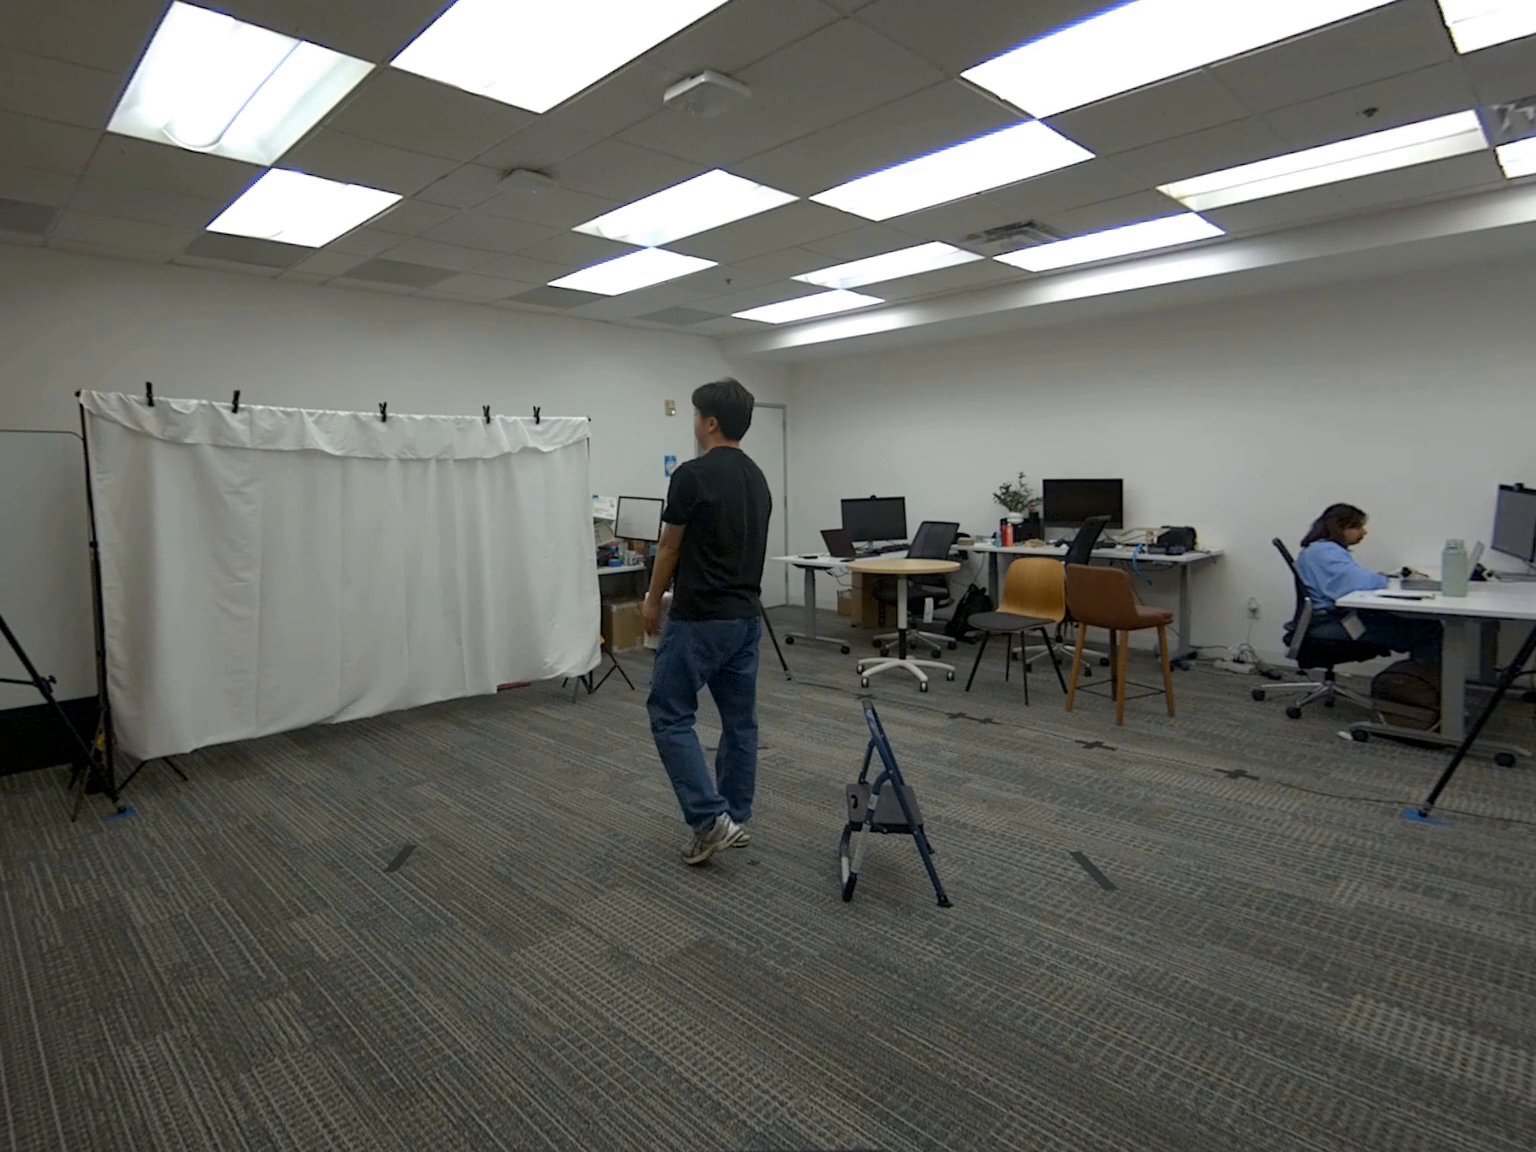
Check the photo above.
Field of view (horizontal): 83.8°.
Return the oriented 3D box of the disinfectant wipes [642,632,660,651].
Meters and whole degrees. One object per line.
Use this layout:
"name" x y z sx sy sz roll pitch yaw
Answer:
"disinfectant wipes" -0.422 0.180 3.418 0.118 0.216 0.119 1 8 -2
